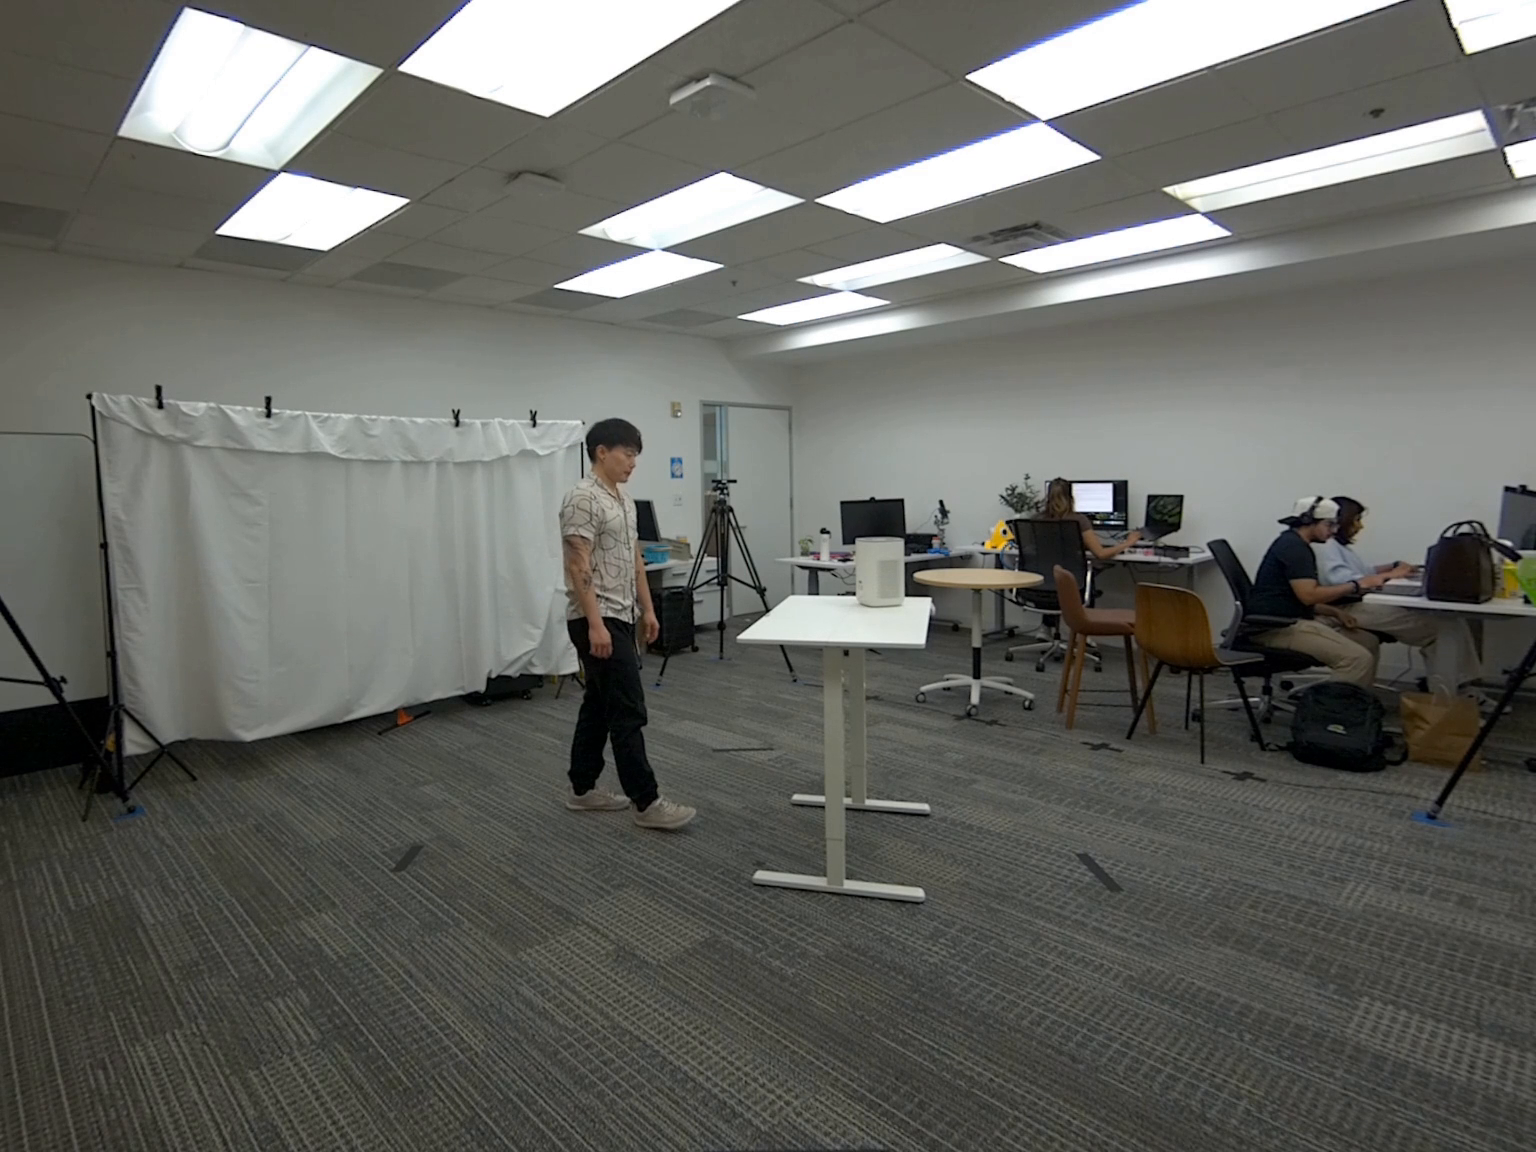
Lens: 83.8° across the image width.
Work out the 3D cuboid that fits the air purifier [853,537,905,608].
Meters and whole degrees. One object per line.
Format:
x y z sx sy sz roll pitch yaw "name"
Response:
0.447 -0.012 3.435 0.169 0.264 0.174 -3 6 -15 "air purifier"
